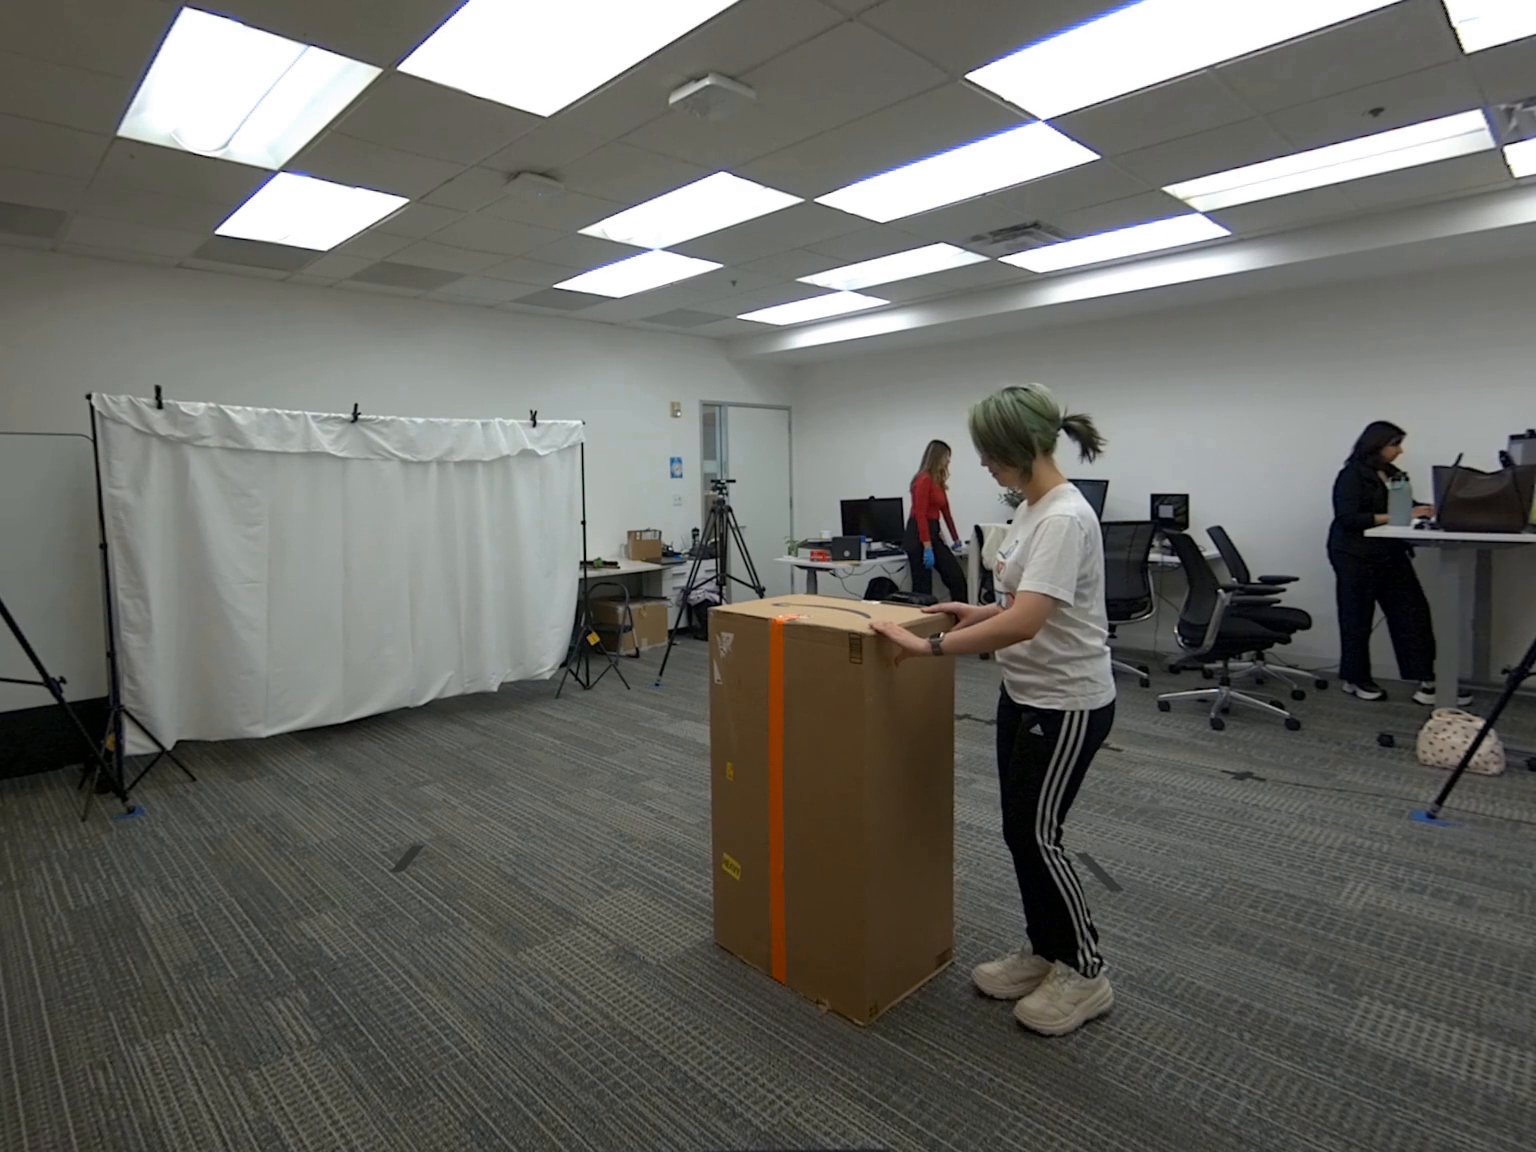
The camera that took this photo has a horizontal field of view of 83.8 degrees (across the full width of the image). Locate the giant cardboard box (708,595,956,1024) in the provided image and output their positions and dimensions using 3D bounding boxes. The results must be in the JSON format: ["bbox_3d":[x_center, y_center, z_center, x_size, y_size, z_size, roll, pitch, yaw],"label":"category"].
[{"bbox_3d":[0.179,0.608,2.482,0.602,1.023,0.435,4,6,44],"label":"giant cardboard box"}]
